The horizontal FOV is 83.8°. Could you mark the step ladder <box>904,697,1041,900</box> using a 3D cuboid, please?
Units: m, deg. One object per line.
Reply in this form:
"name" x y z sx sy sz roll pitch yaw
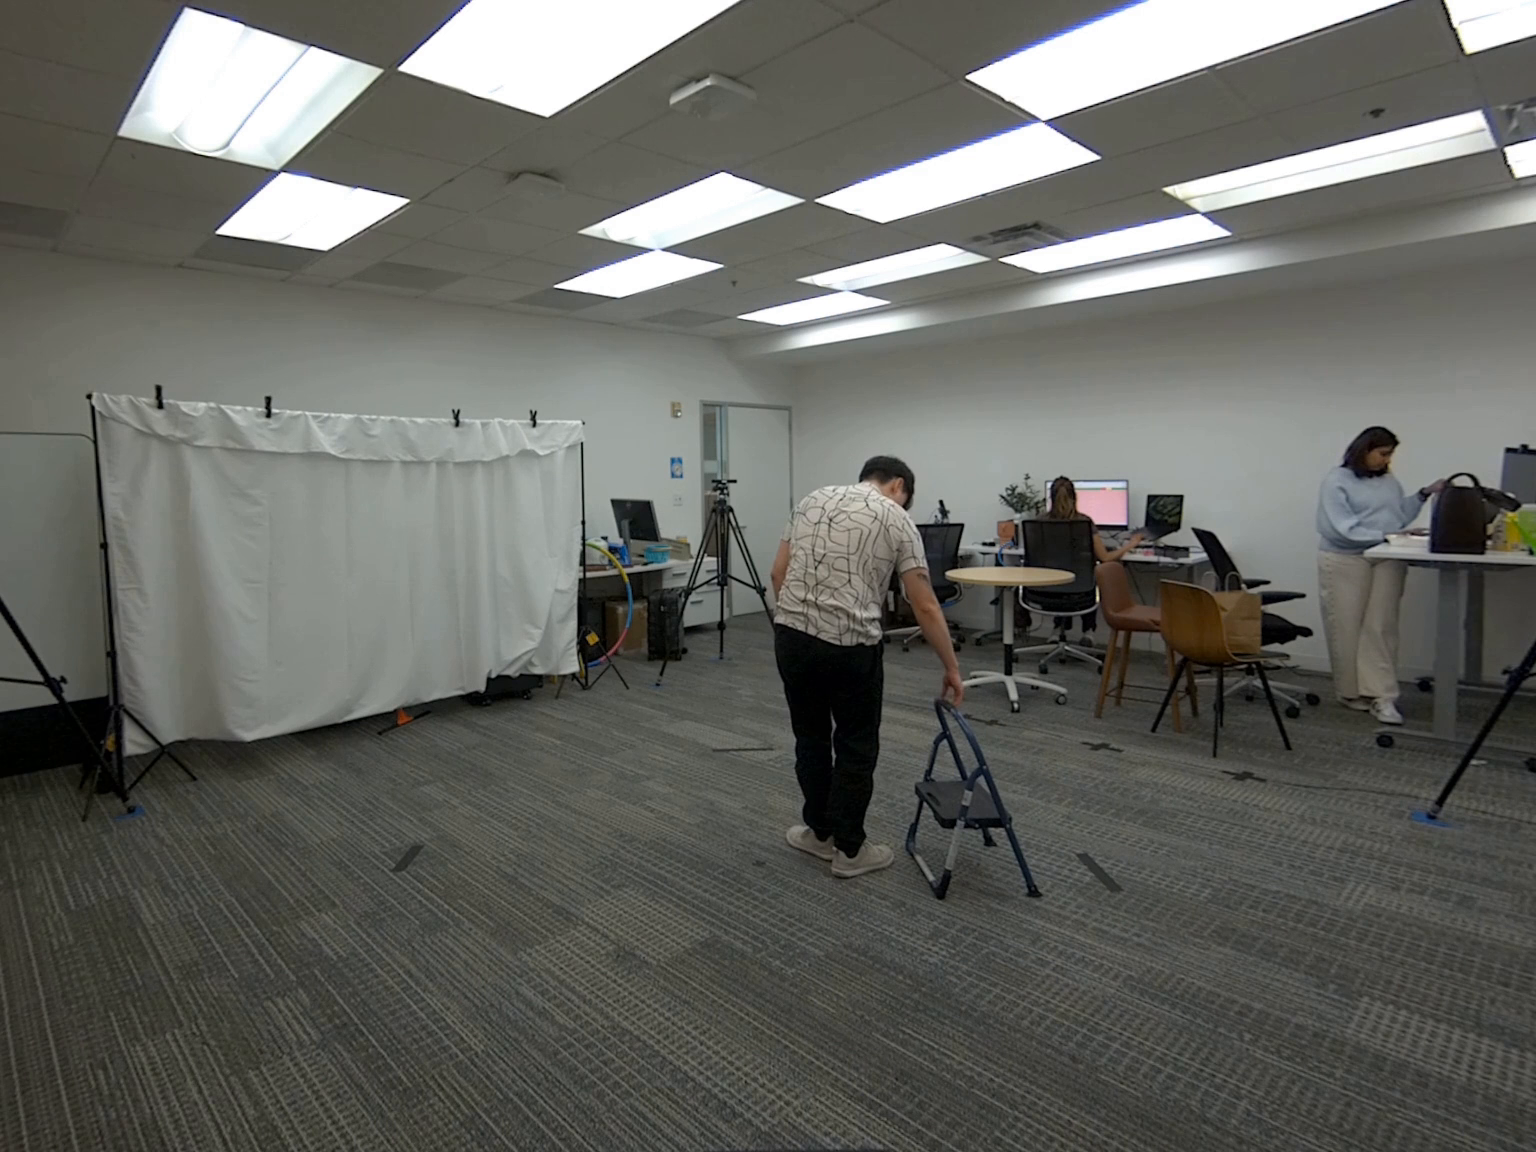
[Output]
"step ladder" 0.708 0.744 3.008 0.348 0.604 0.434 -1 4 -5
